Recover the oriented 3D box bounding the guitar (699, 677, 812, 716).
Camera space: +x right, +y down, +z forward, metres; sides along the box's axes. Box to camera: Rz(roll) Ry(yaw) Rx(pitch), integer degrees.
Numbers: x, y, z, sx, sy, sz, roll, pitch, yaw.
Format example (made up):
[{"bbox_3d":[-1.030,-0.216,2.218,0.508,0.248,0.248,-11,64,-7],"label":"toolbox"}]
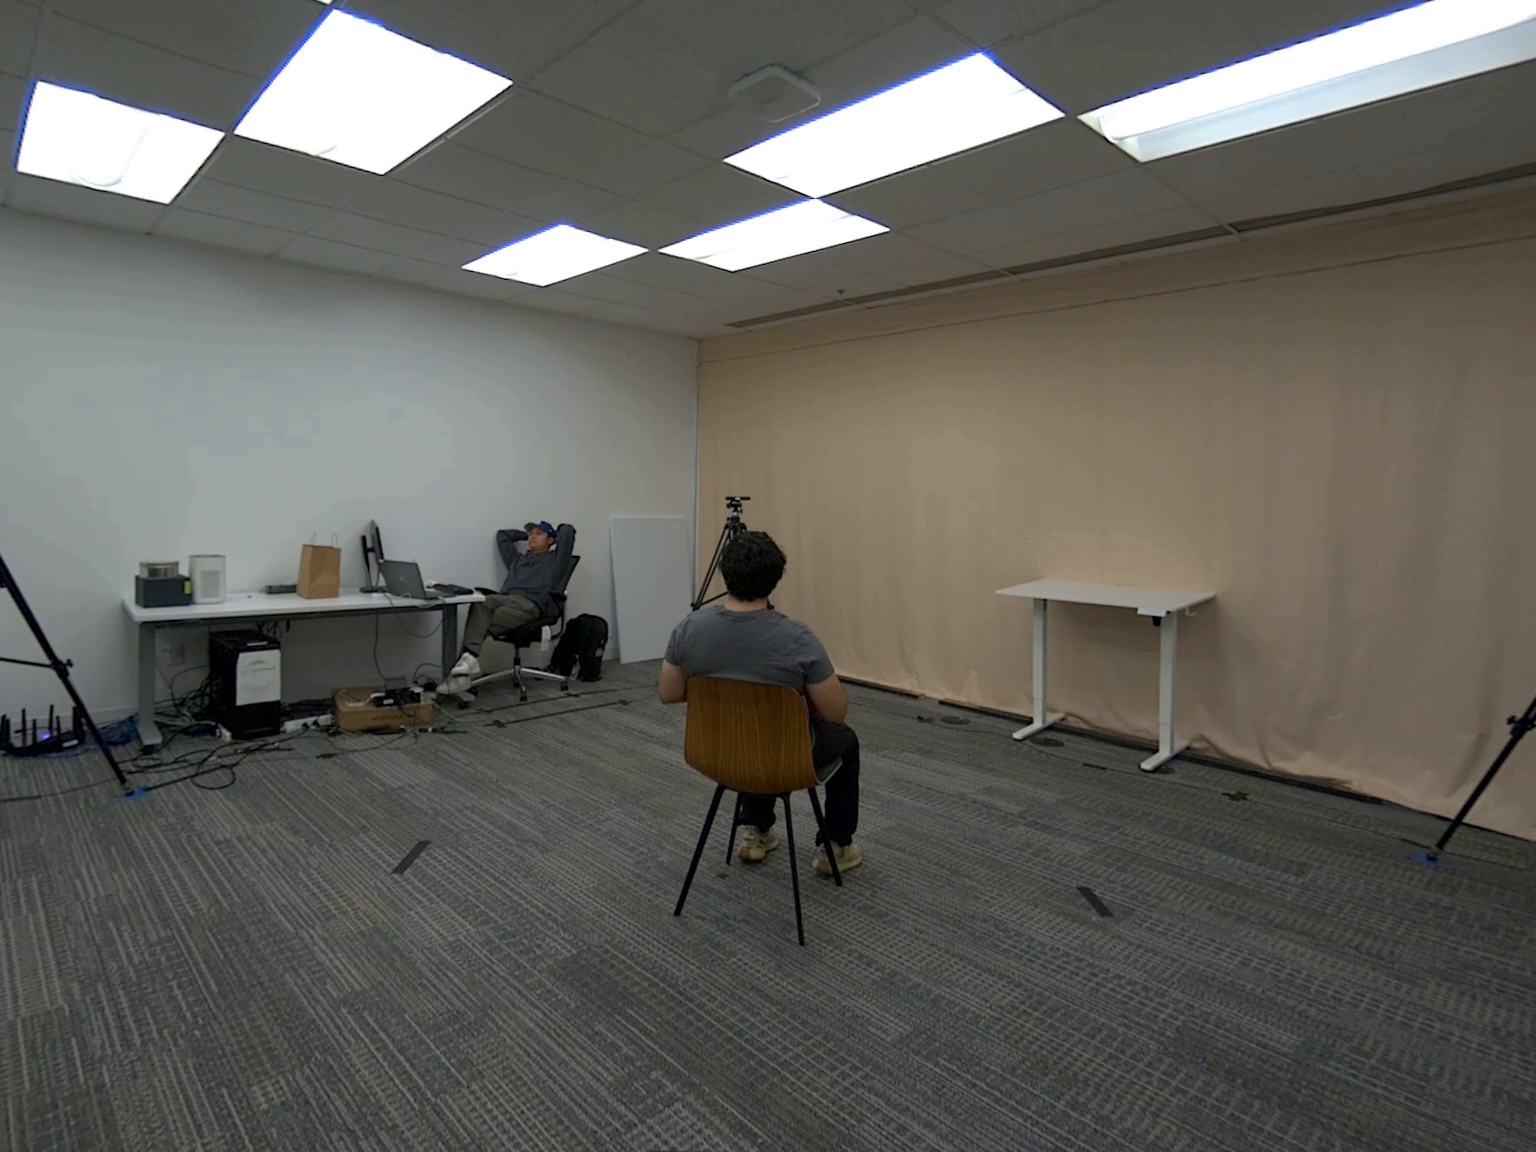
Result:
[{"bbox_3d":[-0.027,0.371,2.999,0.509,0.188,0.071,5,42,34],"label":"guitar"}]
